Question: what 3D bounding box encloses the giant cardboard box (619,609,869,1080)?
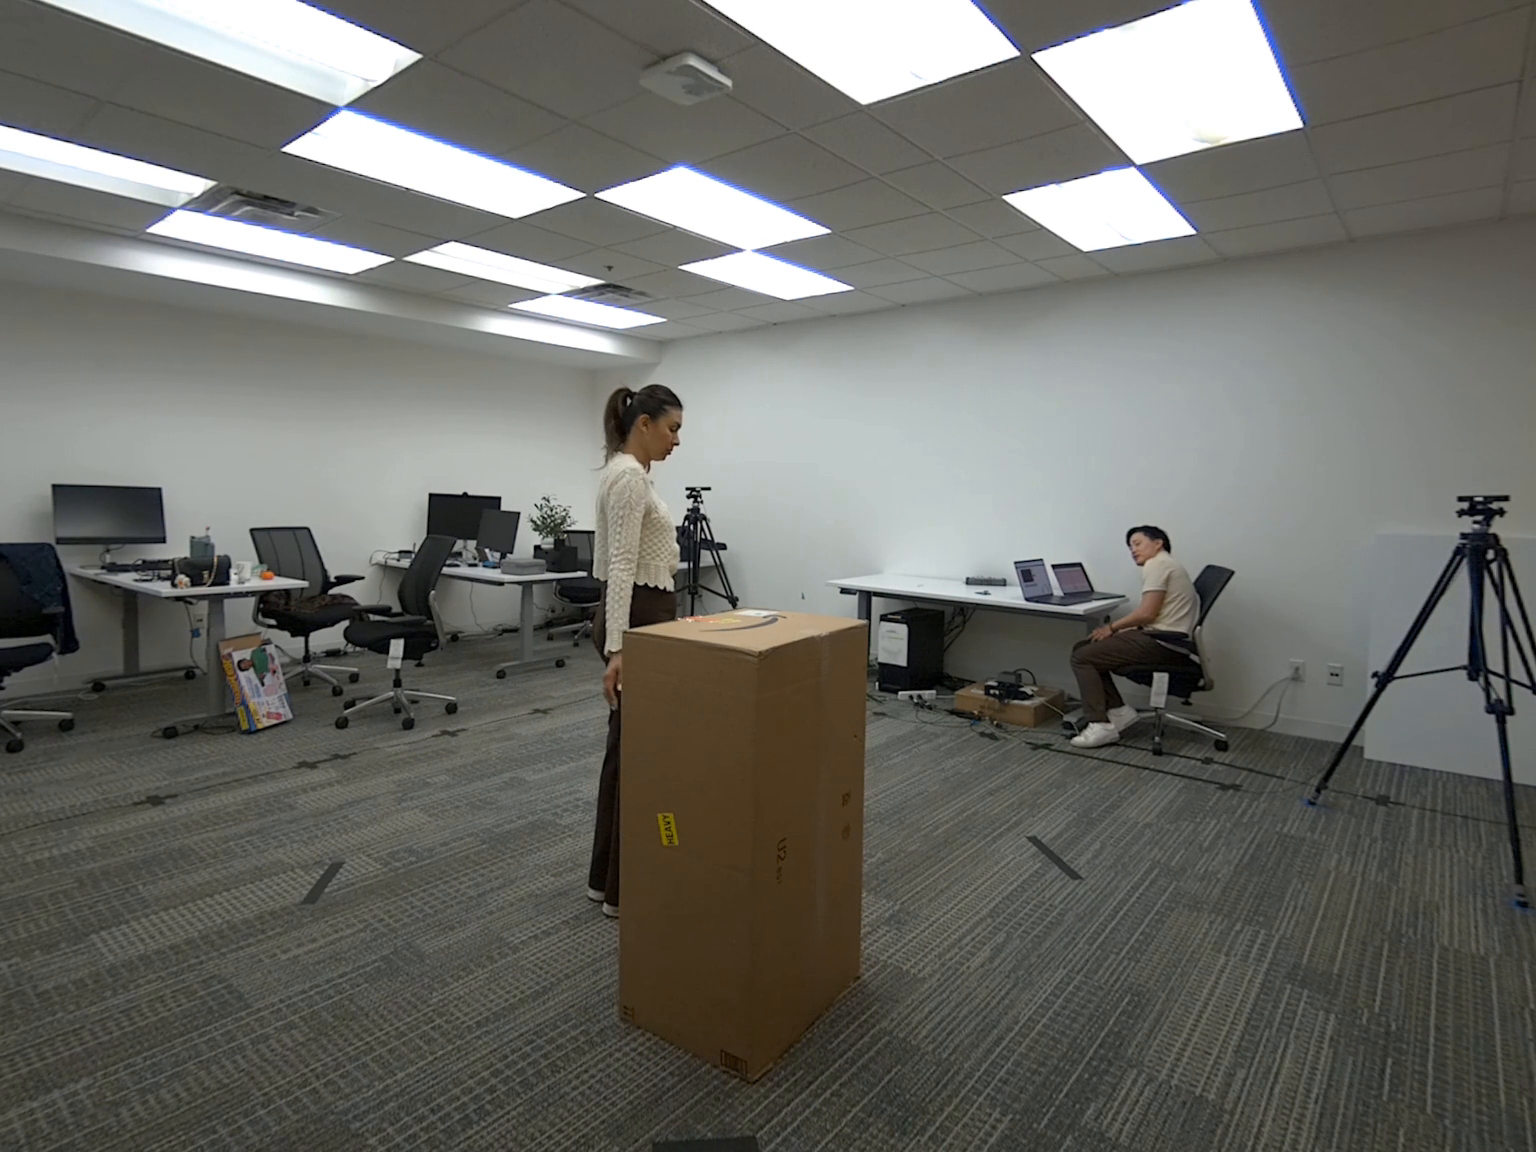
[{"bbox_3d":[-0.061,0.640,2.308,0.440,1.022,0.561,3,5,34],"label":"giant cardboard box"}]
